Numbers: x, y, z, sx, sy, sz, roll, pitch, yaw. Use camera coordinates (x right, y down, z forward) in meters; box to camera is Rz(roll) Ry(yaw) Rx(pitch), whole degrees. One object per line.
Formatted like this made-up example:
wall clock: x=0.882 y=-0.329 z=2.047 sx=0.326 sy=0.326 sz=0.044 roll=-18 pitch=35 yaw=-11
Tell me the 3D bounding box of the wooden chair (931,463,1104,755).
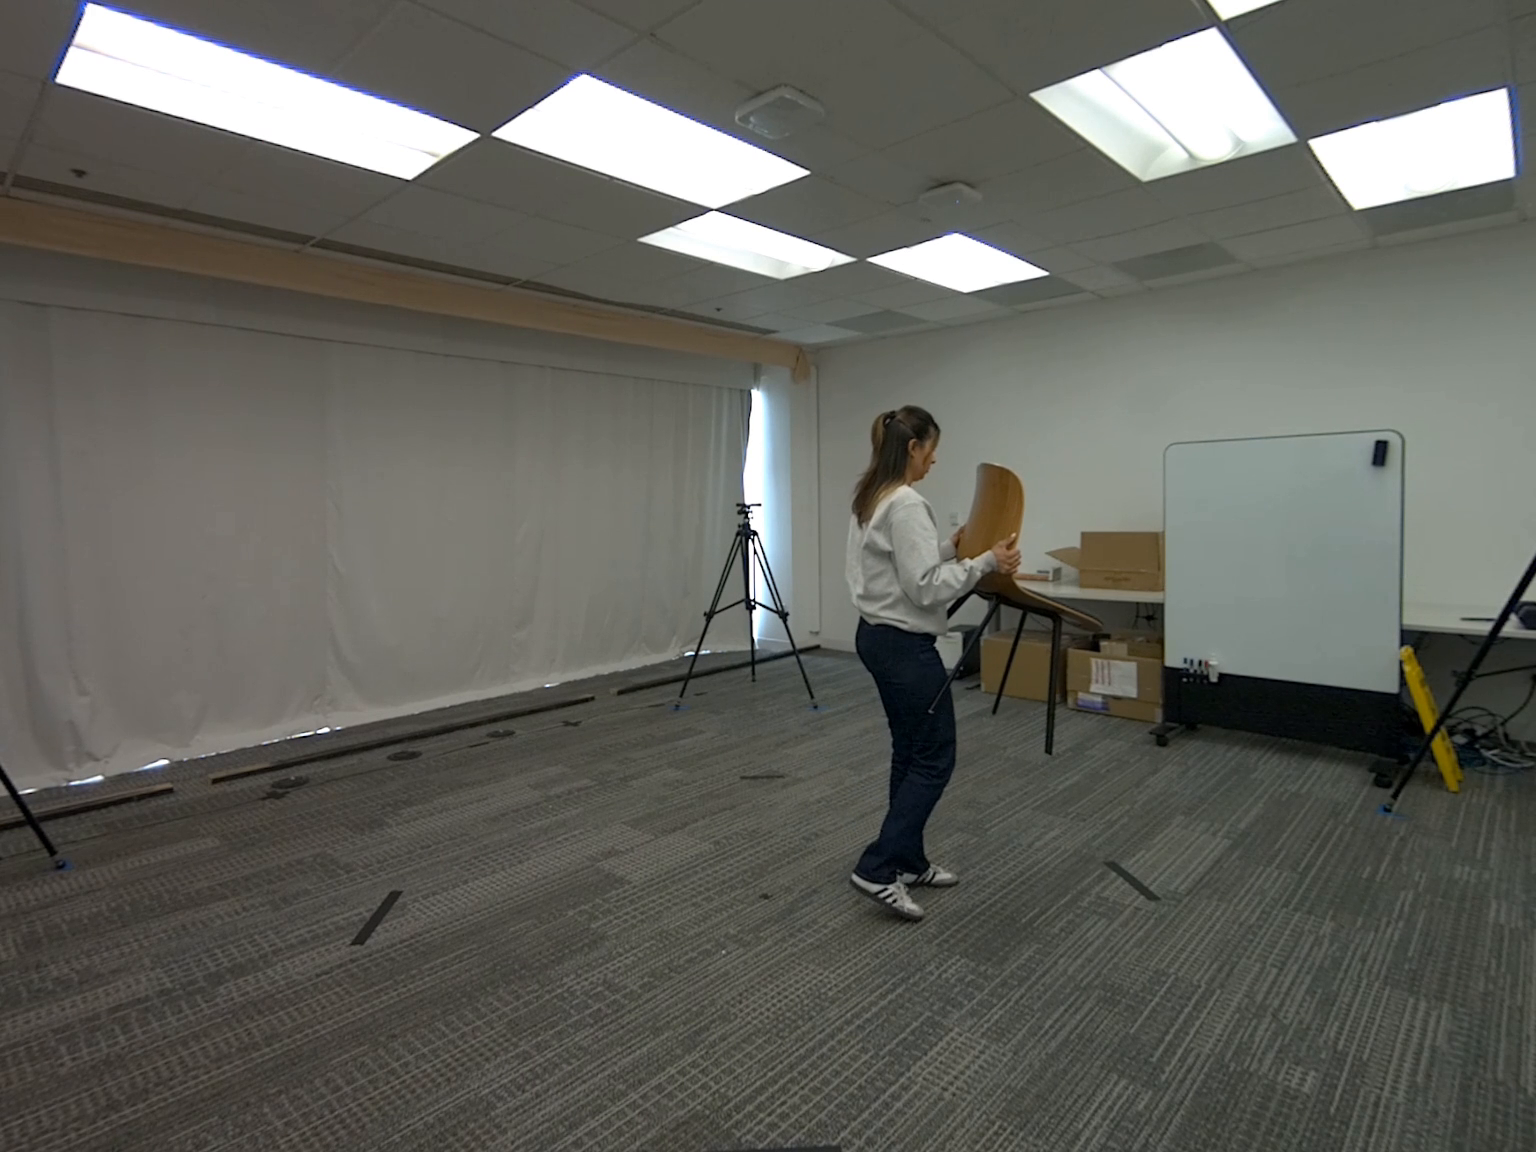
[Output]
wooden chair: x=0.878 y=0.102 z=2.955 sx=0.518 sy=0.876 sz=0.483 roll=17 pitch=4 yaw=-9
